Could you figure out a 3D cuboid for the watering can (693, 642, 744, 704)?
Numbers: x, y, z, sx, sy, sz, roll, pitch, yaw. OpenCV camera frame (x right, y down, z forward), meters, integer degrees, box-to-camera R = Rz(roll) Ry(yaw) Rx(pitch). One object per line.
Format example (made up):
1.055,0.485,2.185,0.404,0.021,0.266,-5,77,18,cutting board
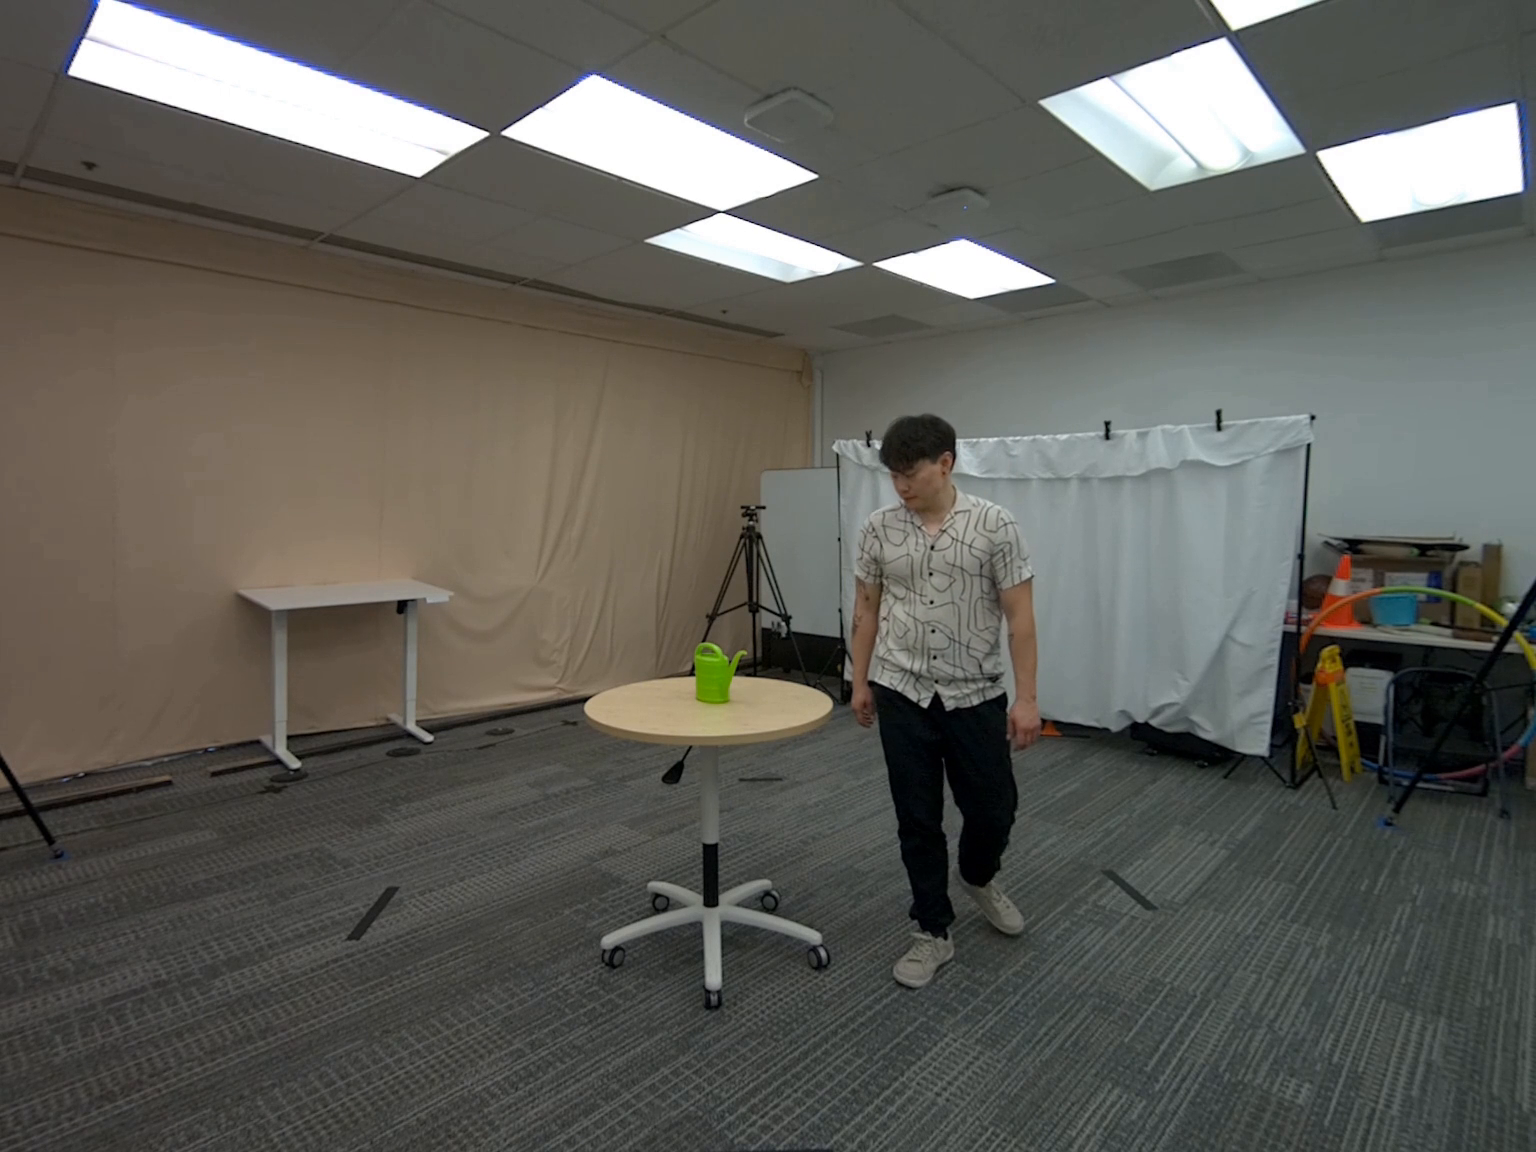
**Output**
-0.156,0.305,2.603,0.096,0.176,0.285,-3,4,-23,watering can
